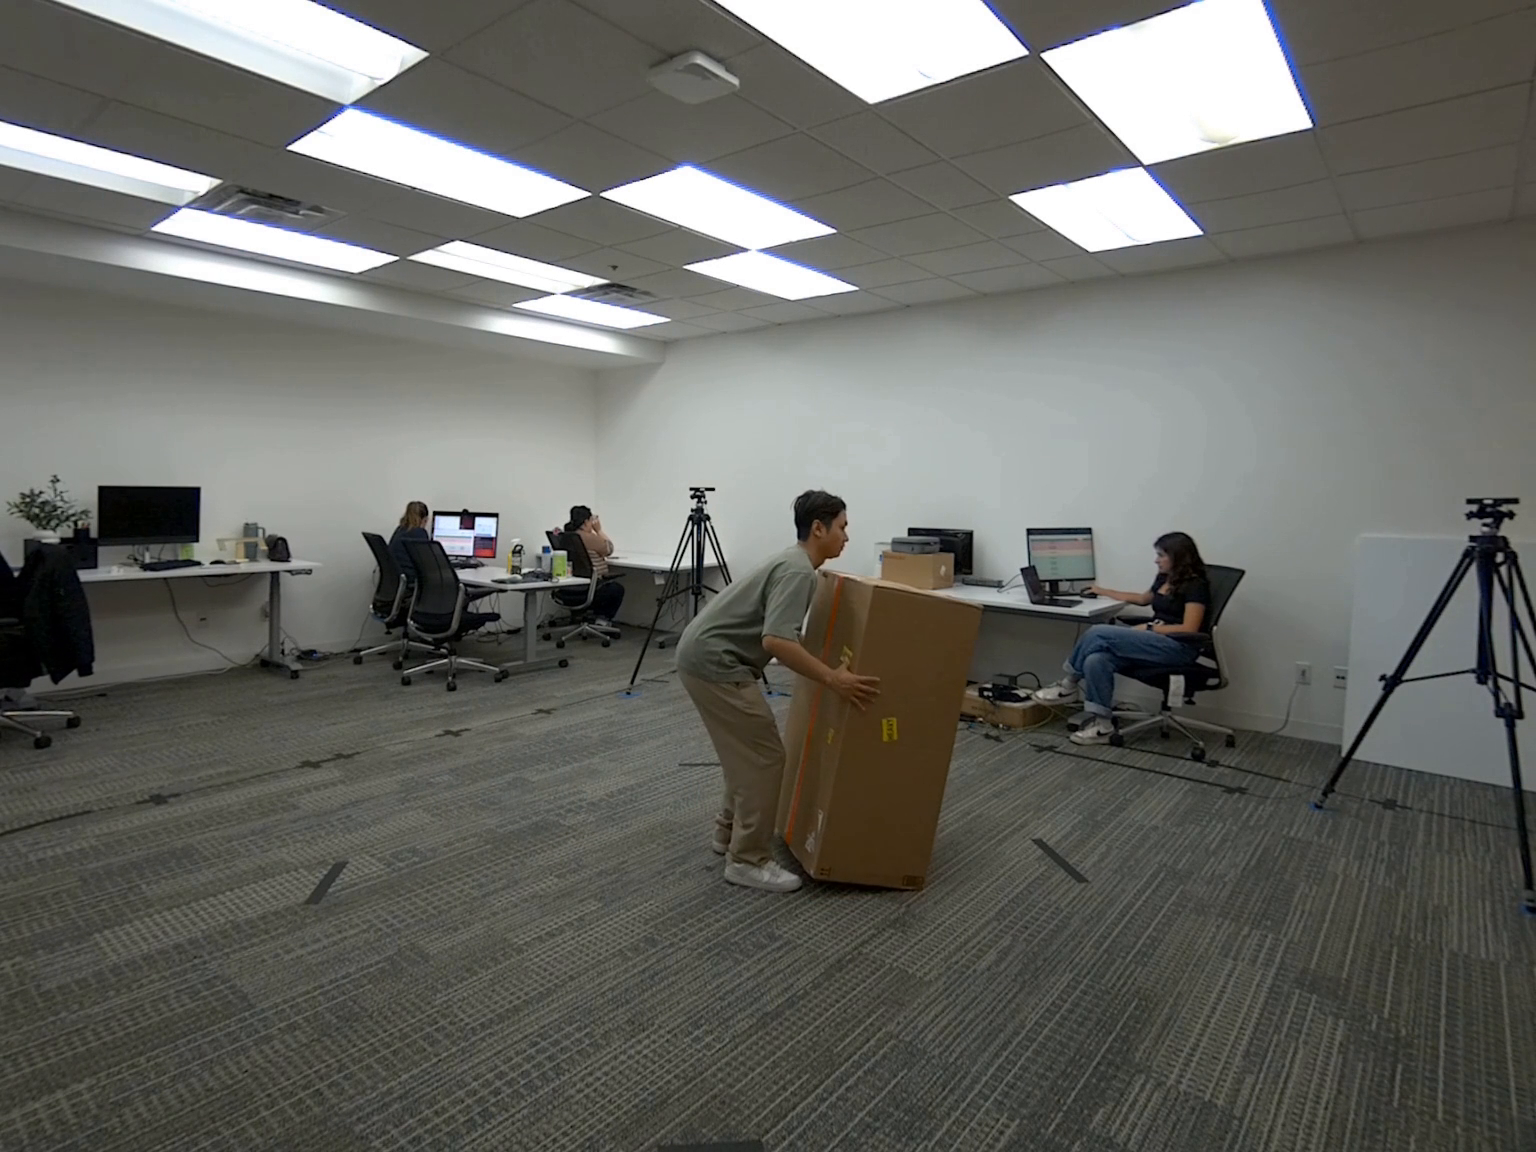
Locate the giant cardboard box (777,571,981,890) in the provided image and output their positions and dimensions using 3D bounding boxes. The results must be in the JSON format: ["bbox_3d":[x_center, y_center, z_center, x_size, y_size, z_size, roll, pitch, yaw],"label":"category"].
[{"bbox_3d":[0.379,0.541,3.199,0.419,1.025,0.588,11,1,-16],"label":"giant cardboard box"}]
